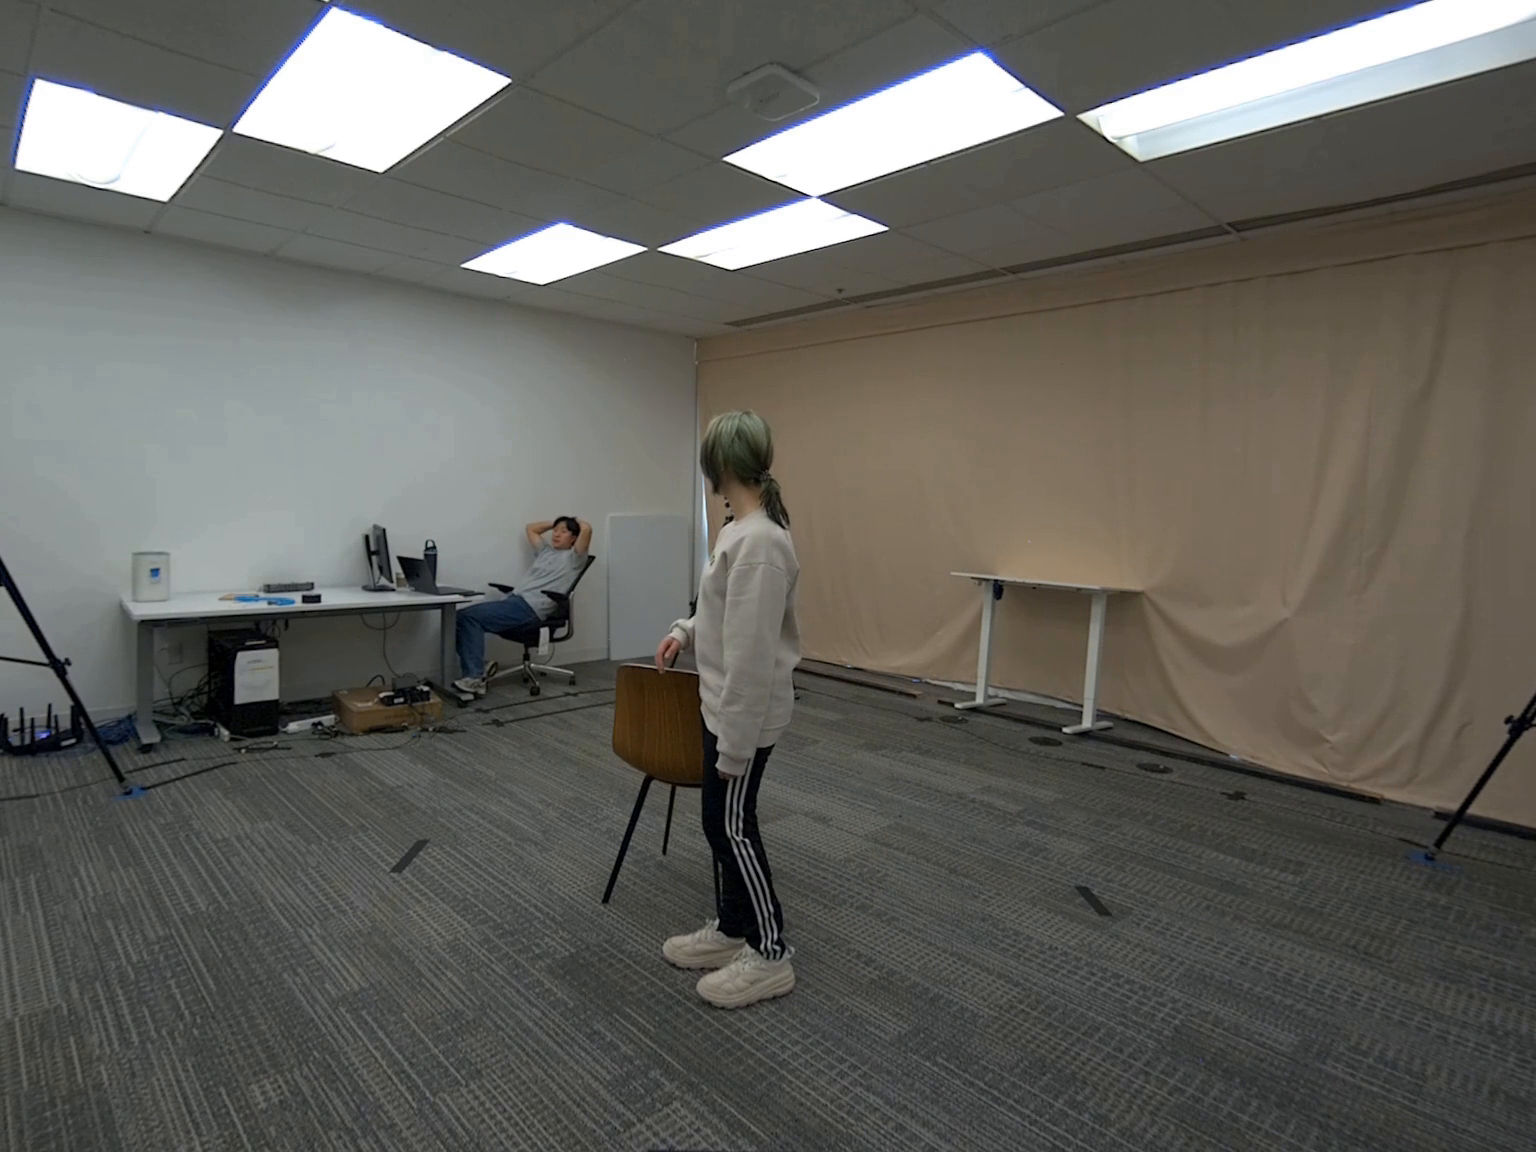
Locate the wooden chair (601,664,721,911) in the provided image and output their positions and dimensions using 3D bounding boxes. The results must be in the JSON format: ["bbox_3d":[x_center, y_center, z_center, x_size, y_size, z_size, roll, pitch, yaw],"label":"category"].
[{"bbox_3d":[-0.269,0.686,2.965,0.487,0.872,0.516,3,8,23],"label":"wooden chair"}]
